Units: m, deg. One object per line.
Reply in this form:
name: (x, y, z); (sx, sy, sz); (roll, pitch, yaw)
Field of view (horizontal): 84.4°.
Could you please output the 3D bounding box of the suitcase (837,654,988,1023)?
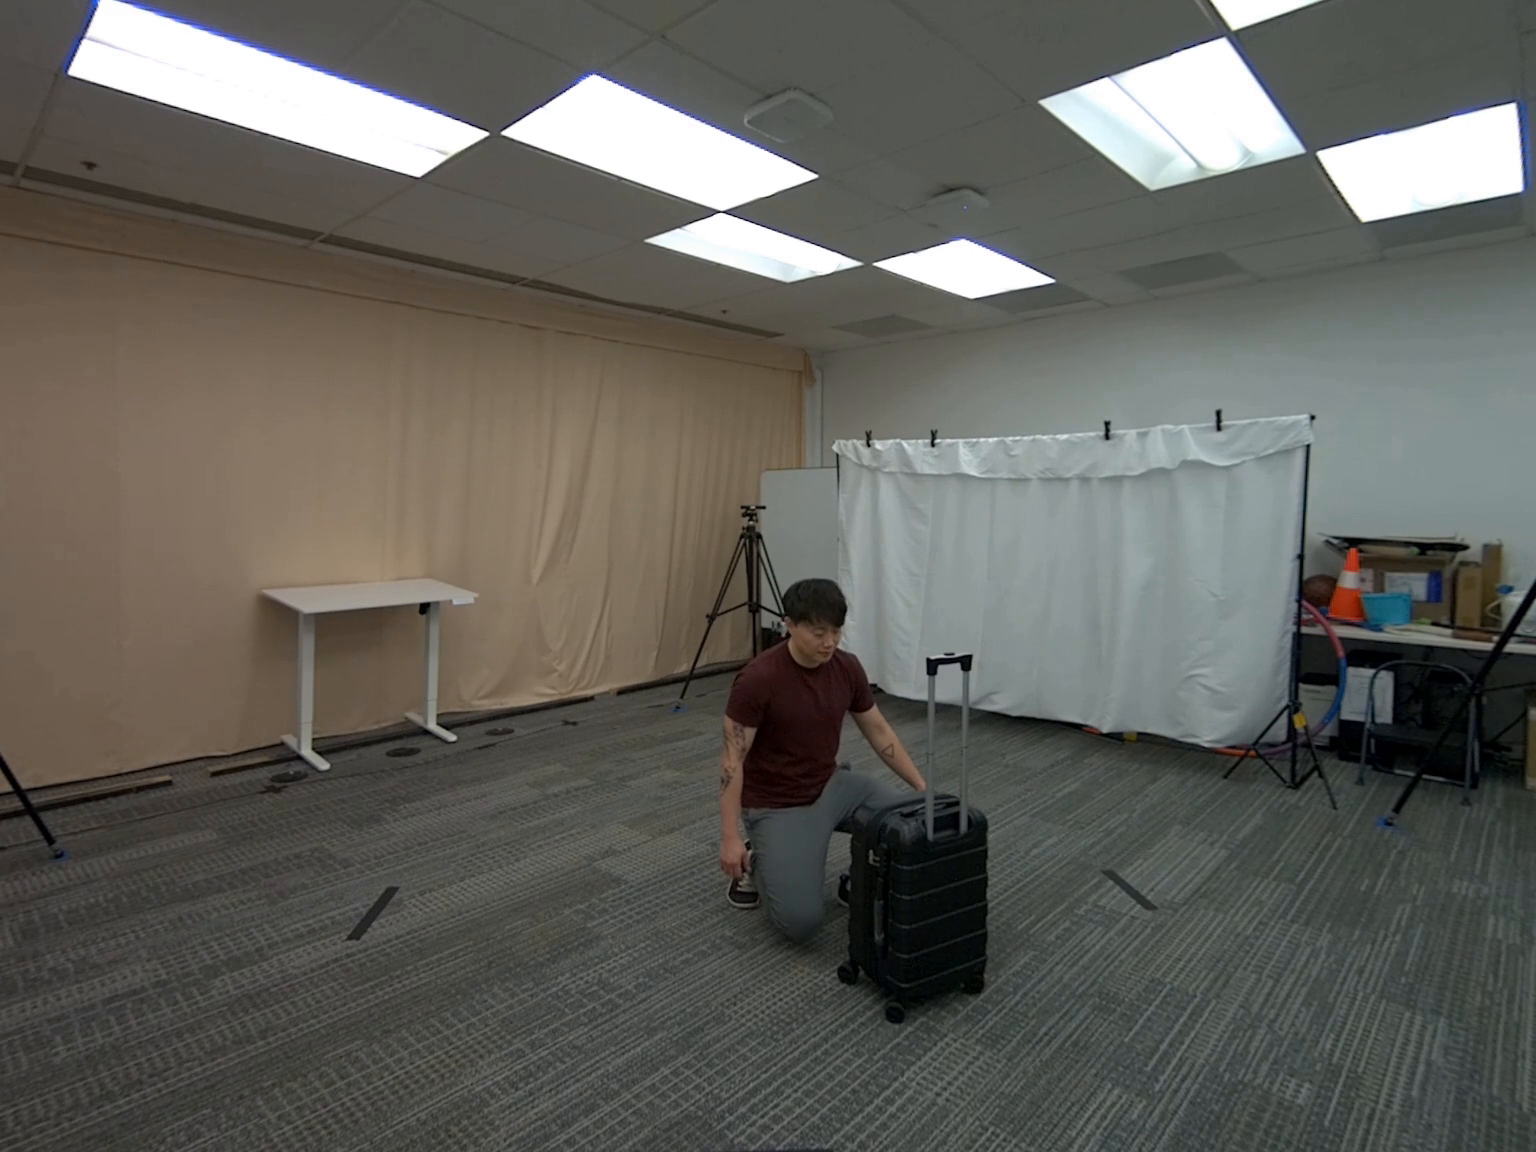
suitcase: (0.436, 0.706, 2.418); (0.374, 0.977, 0.264); (0, 2, -30)
